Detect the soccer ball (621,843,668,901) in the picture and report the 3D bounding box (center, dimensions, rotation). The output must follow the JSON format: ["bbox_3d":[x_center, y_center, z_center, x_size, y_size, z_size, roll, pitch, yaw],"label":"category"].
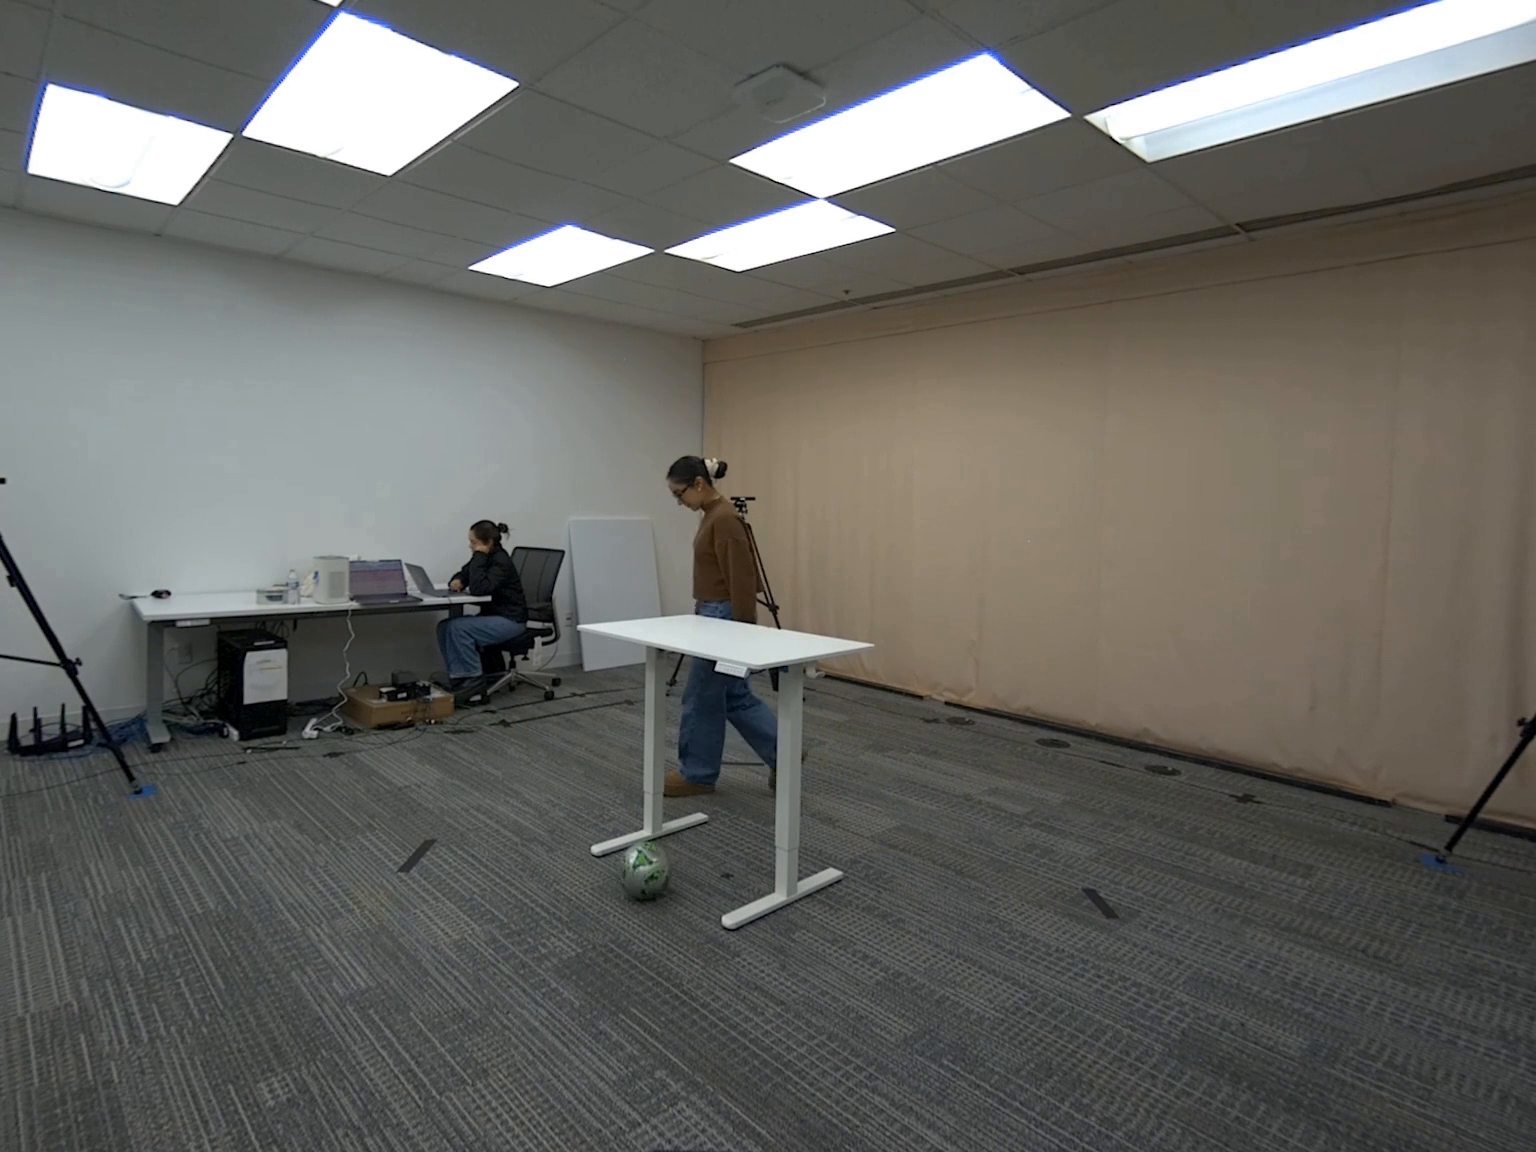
[{"bbox_3d":[-0.440,1.017,2.929,0.187,0.187,0.188,1,4,-1],"label":"soccer ball"}]
